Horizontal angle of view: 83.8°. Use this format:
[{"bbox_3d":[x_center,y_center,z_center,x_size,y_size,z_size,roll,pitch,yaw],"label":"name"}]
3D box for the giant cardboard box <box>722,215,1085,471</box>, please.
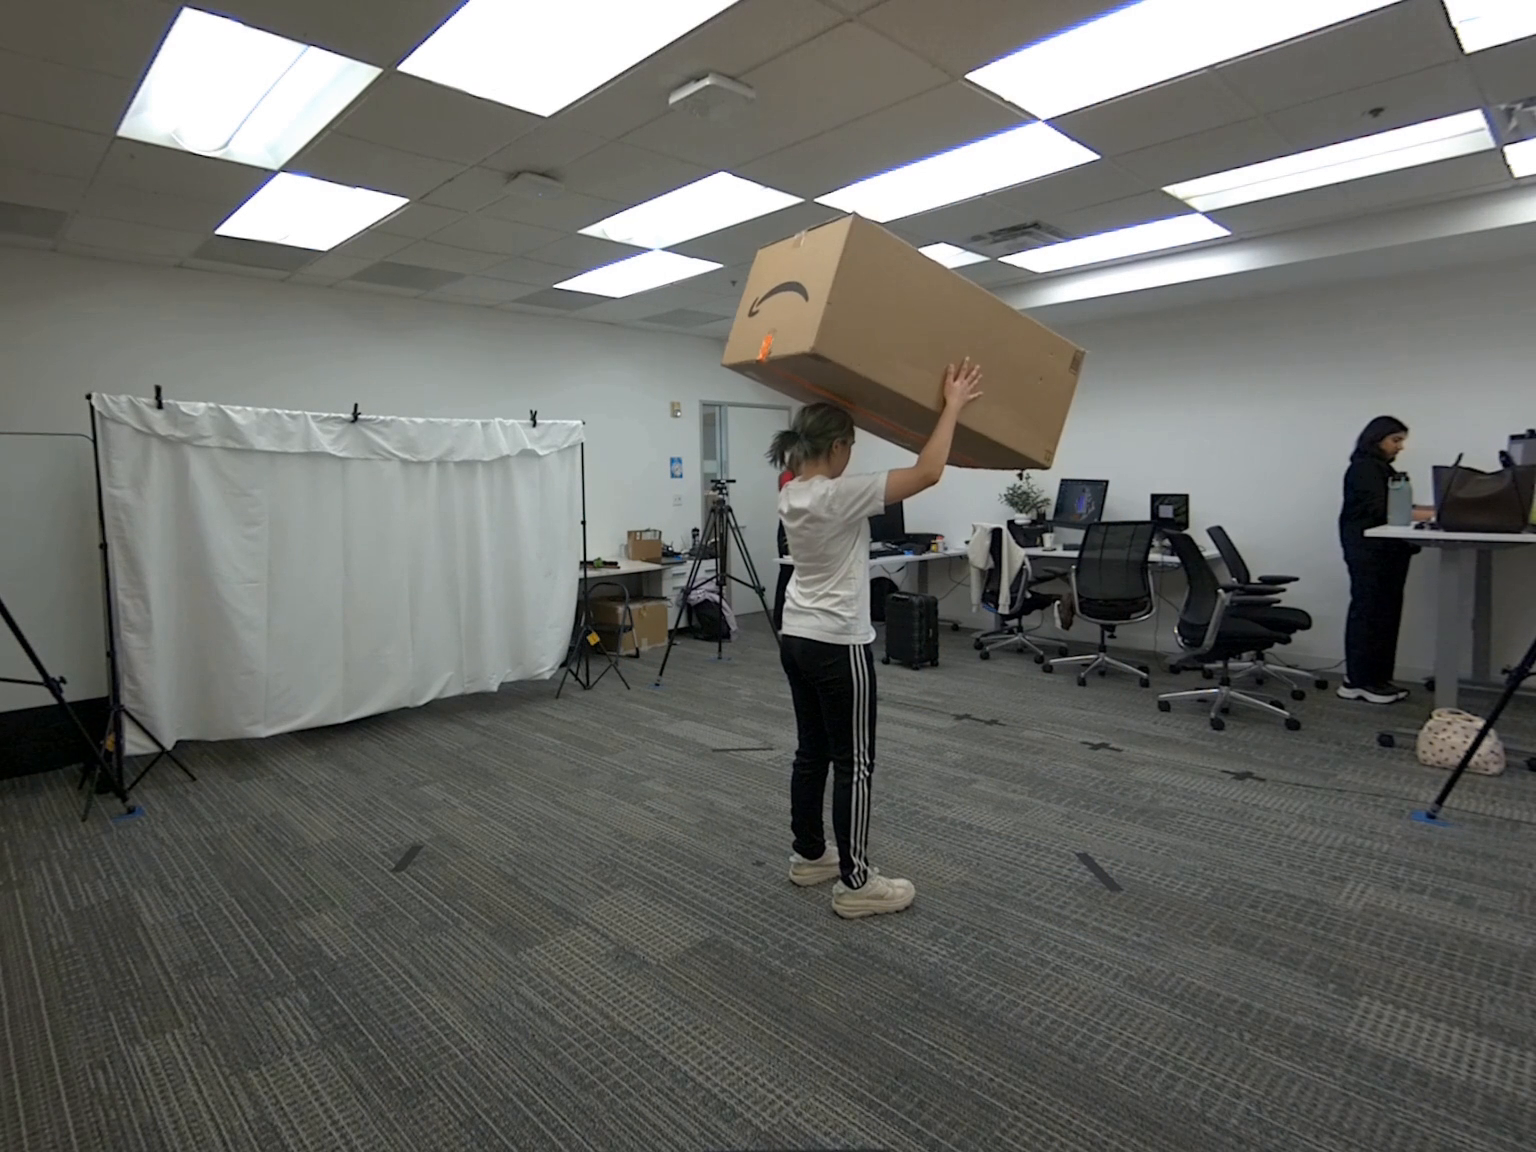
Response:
[{"bbox_3d":[0.465,-0.721,2.881,0.996,0.448,0.600,19,-3,-29],"label":"giant cardboard box"}]
